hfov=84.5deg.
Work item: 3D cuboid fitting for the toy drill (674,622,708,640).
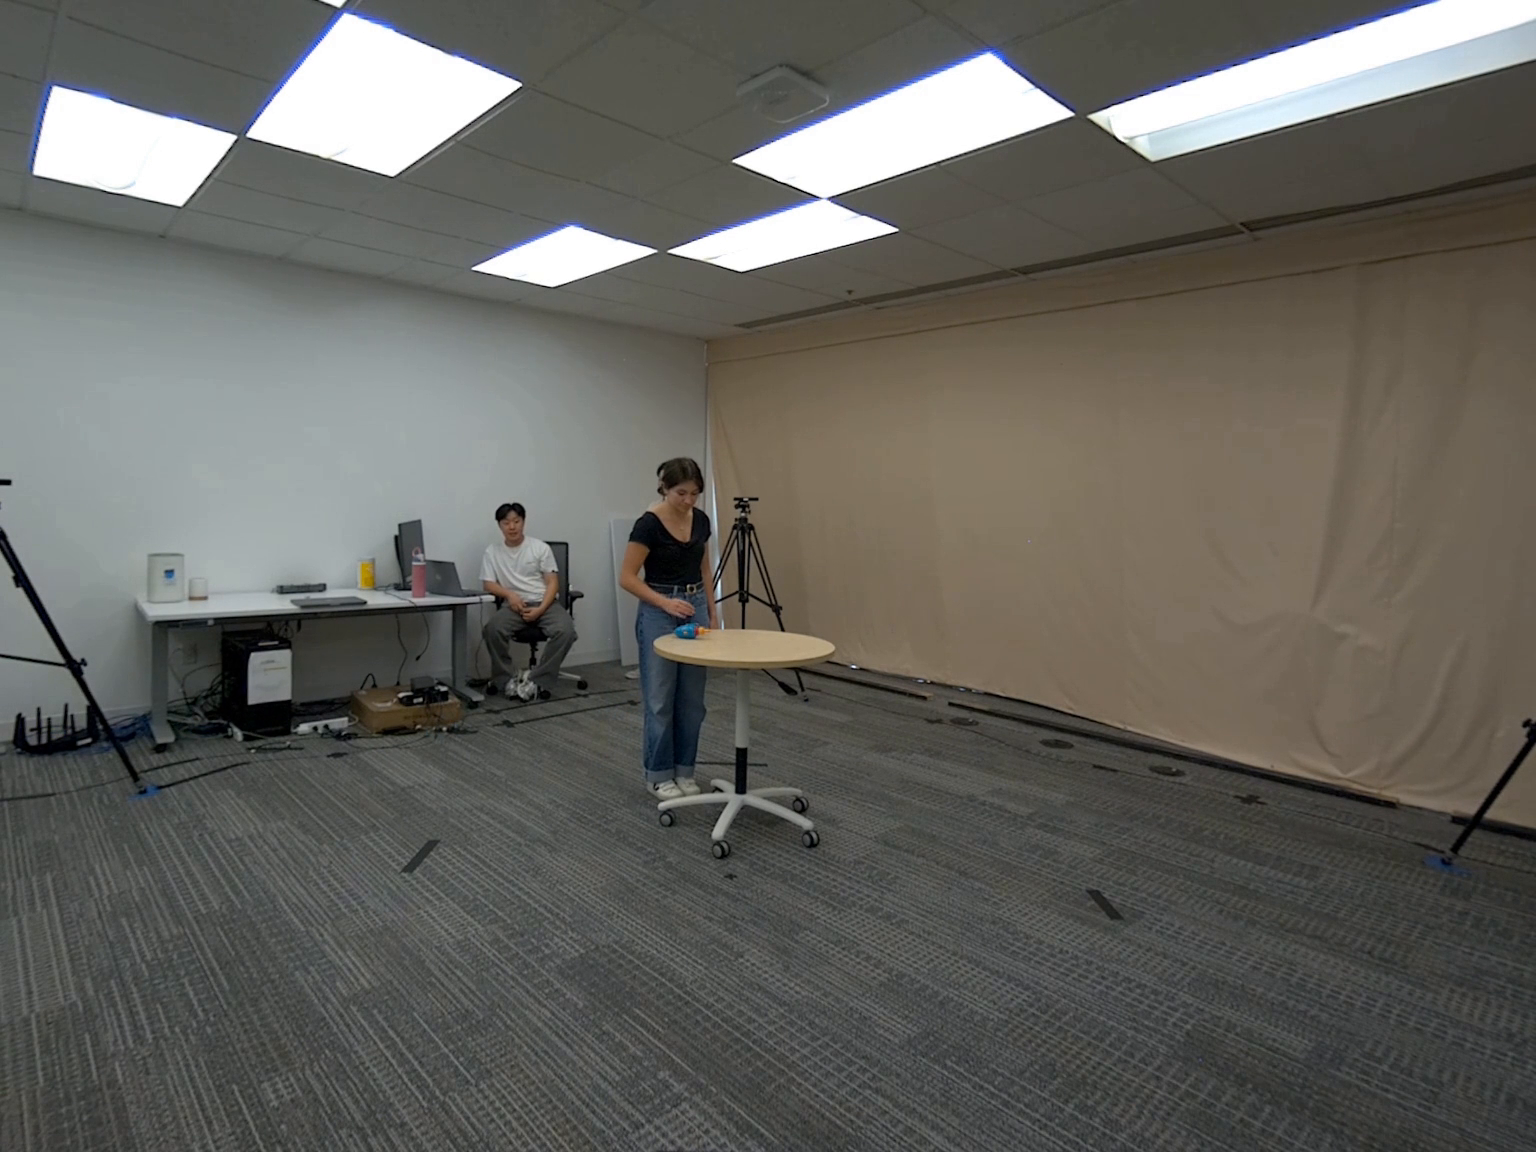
[{"bbox_3d":[-0.340,0.241,3.686,0.172,0.061,0.144,-4,3,14],"label":"toy drill"}]
